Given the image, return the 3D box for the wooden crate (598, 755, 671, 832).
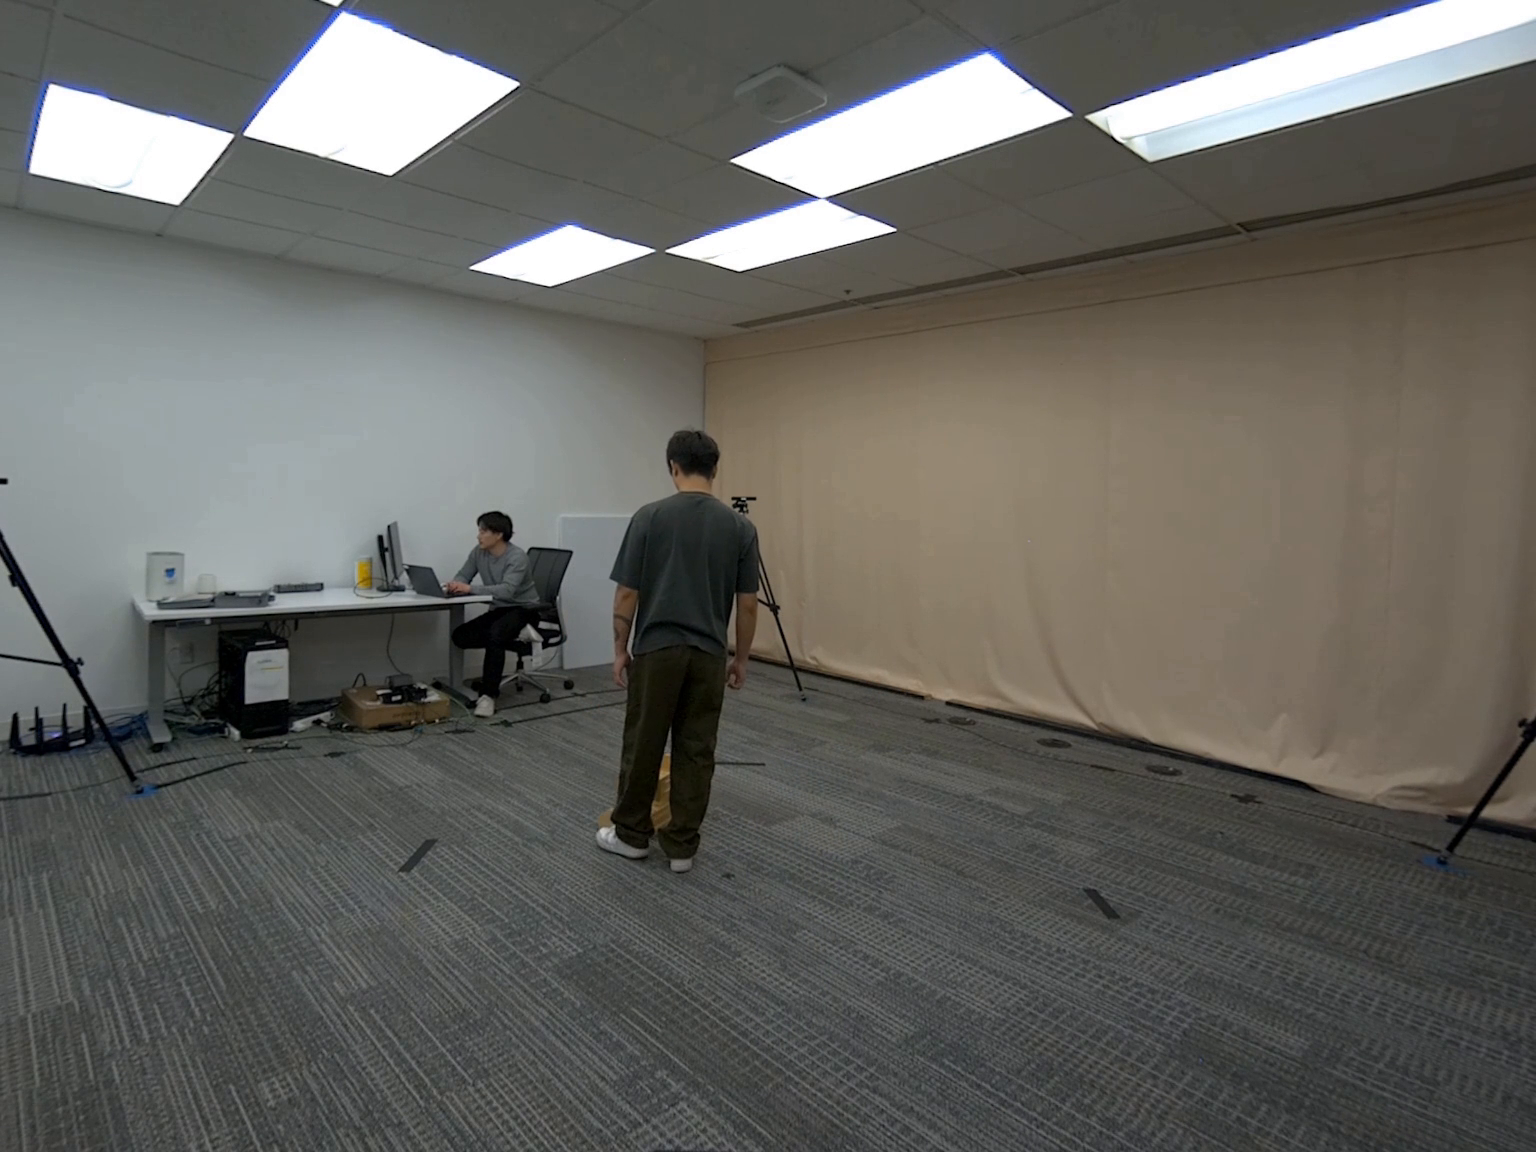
[{"bbox_3d":[-0.534,0.928,3.580,0.307,0.272,0.319,5,5,22],"label":"wooden crate"}]
